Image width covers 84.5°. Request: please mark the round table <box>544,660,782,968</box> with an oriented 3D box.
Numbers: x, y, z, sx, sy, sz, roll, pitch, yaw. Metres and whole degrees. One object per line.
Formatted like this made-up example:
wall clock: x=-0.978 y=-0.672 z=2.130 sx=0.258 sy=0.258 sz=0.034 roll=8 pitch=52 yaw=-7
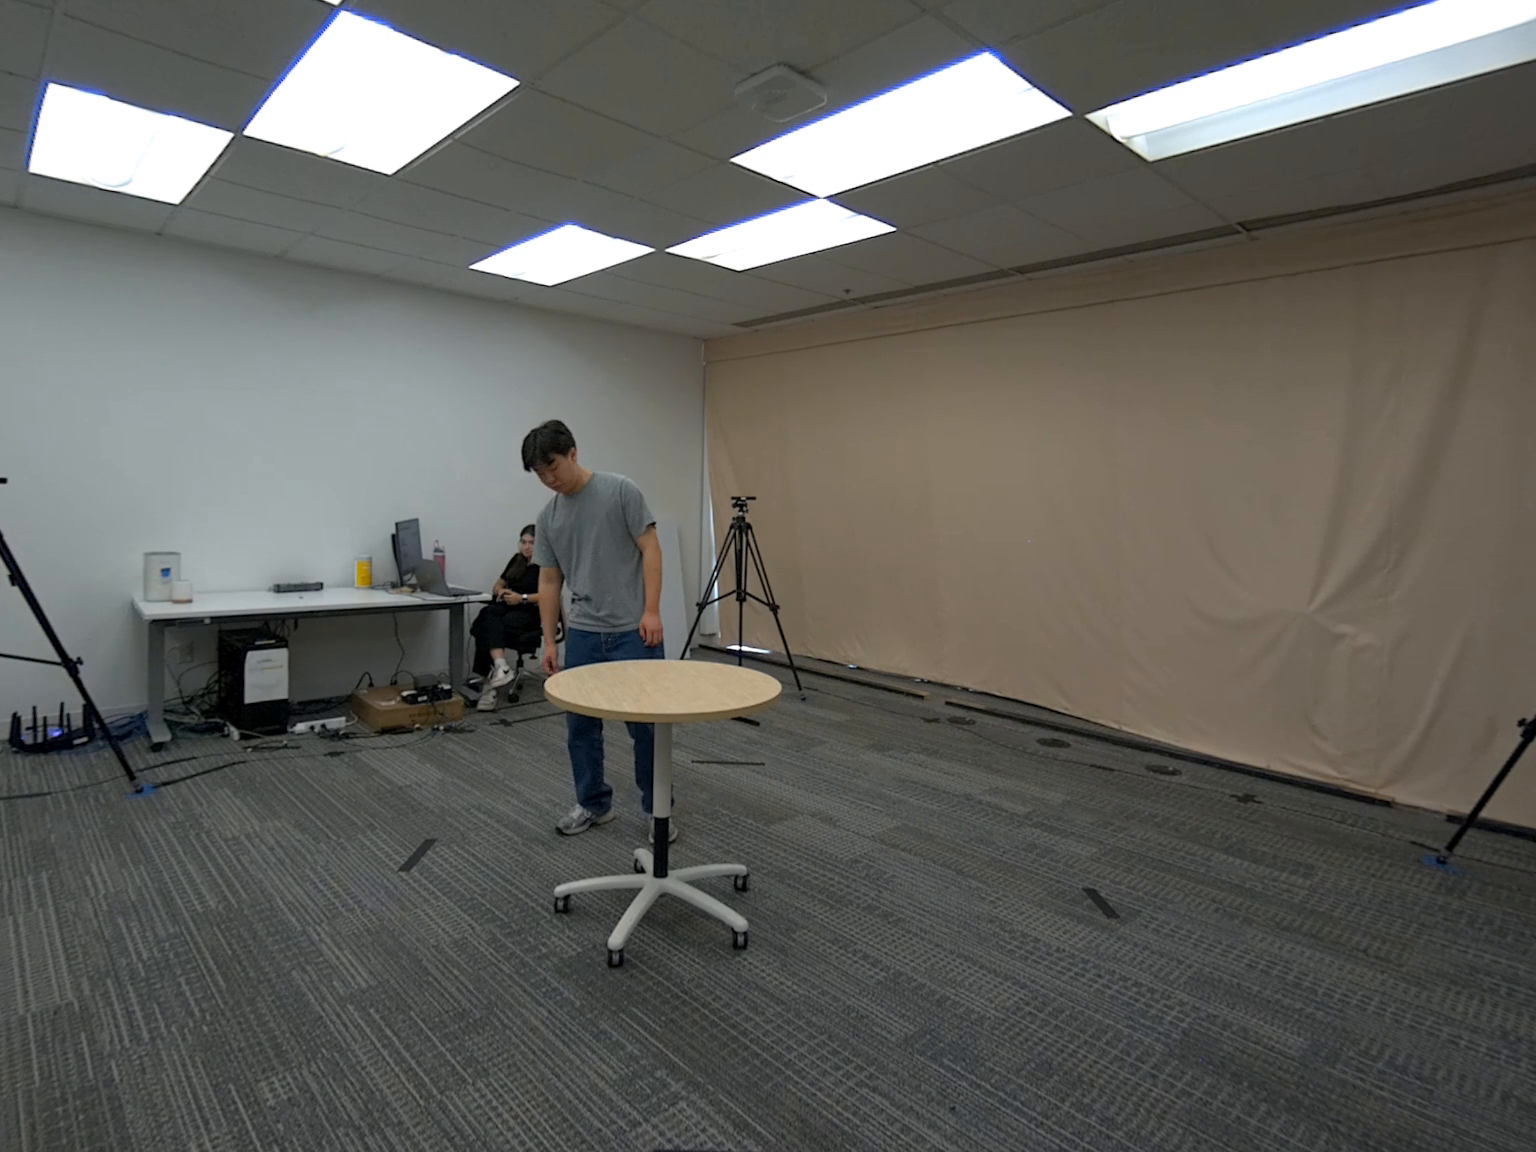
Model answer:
round table: x=-0.351 y=0.745 z=2.762 sx=0.763 sy=0.792 sz=0.767 roll=1 pitch=4 yaw=-1
